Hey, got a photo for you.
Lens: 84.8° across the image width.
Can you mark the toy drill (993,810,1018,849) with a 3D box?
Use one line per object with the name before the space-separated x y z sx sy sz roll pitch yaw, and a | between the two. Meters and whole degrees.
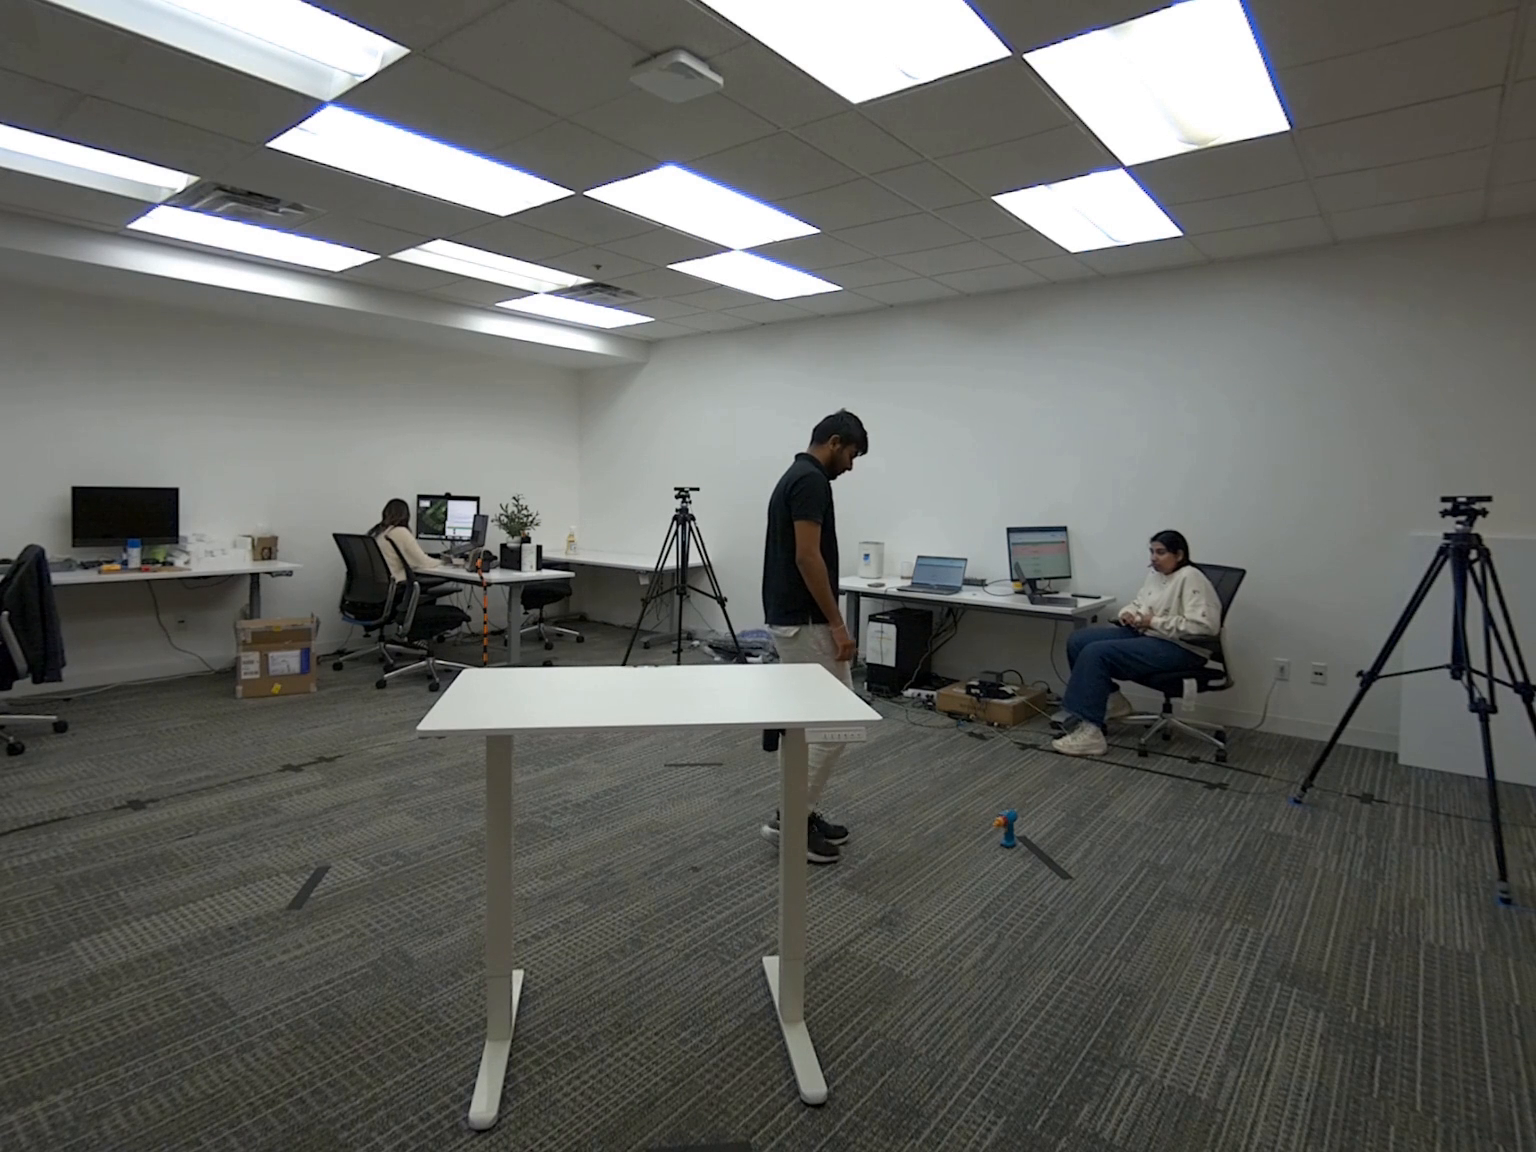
toy drill | 0.928 0.998 3.355 0.164 0.146 0.063 0 1 -44
